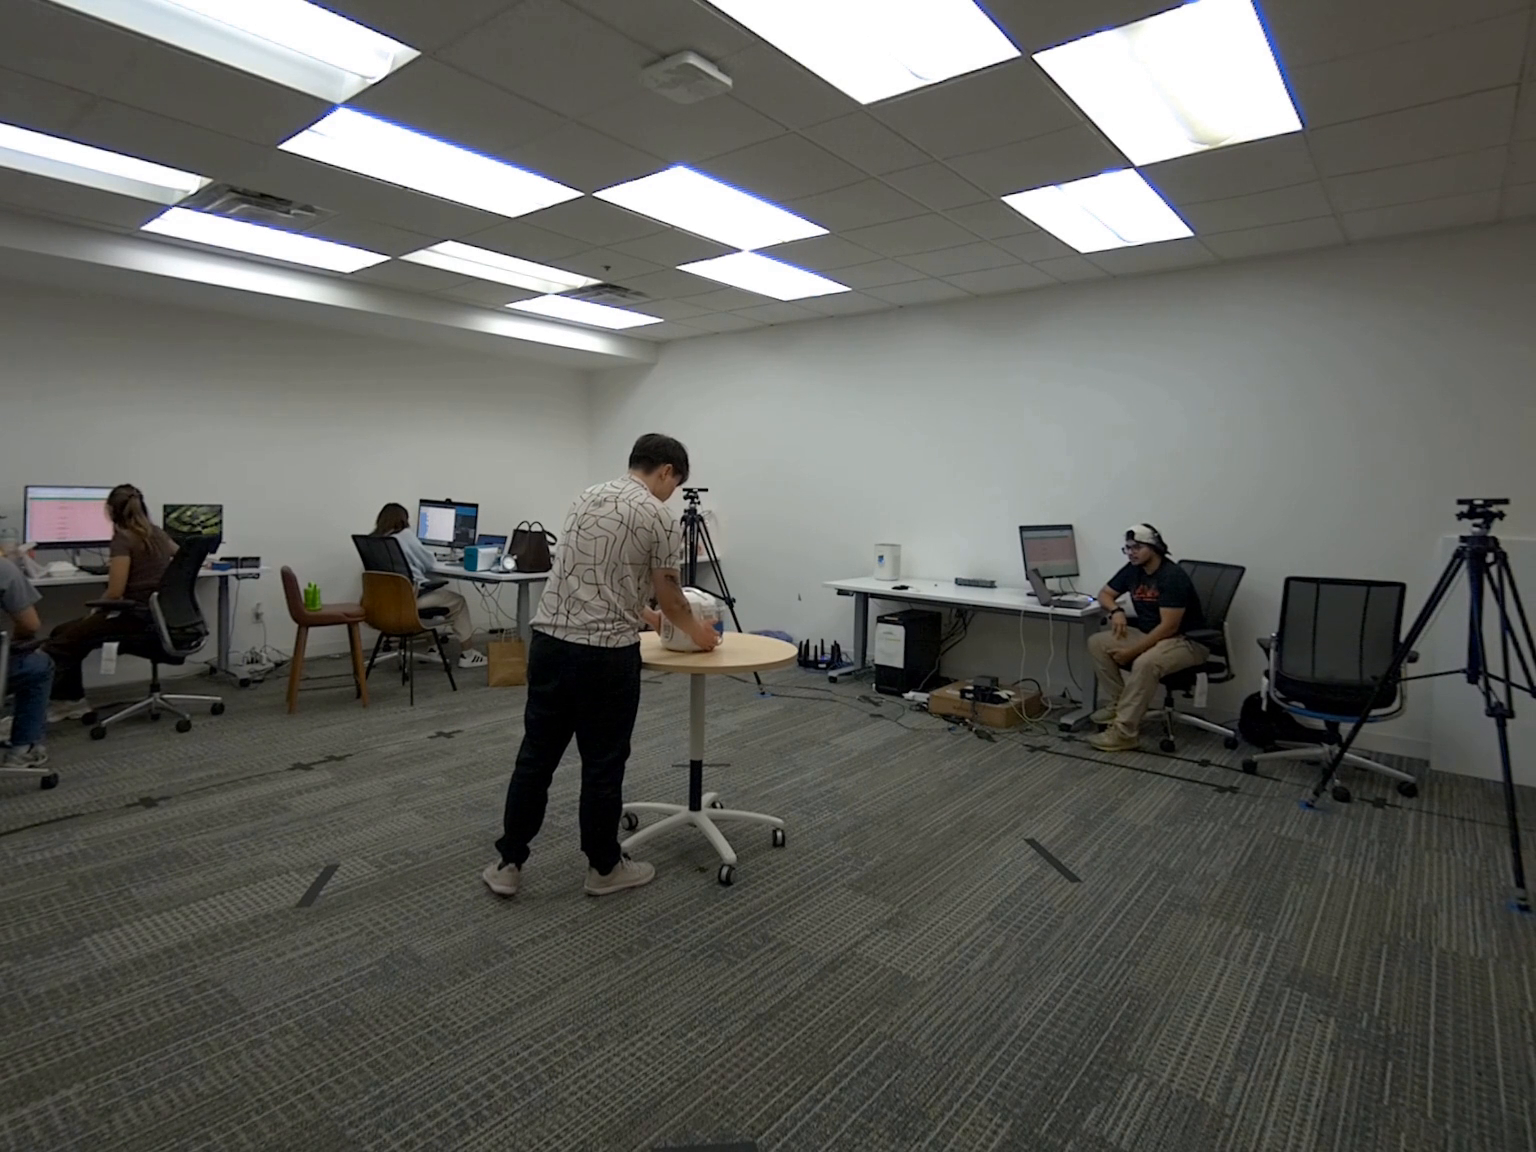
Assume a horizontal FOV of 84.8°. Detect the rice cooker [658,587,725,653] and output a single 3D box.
[{"bbox_3d":[-0.307,0.157,3.235,0.228,0.232,0.211,6,6,43],"label":"rice cooker"}]
